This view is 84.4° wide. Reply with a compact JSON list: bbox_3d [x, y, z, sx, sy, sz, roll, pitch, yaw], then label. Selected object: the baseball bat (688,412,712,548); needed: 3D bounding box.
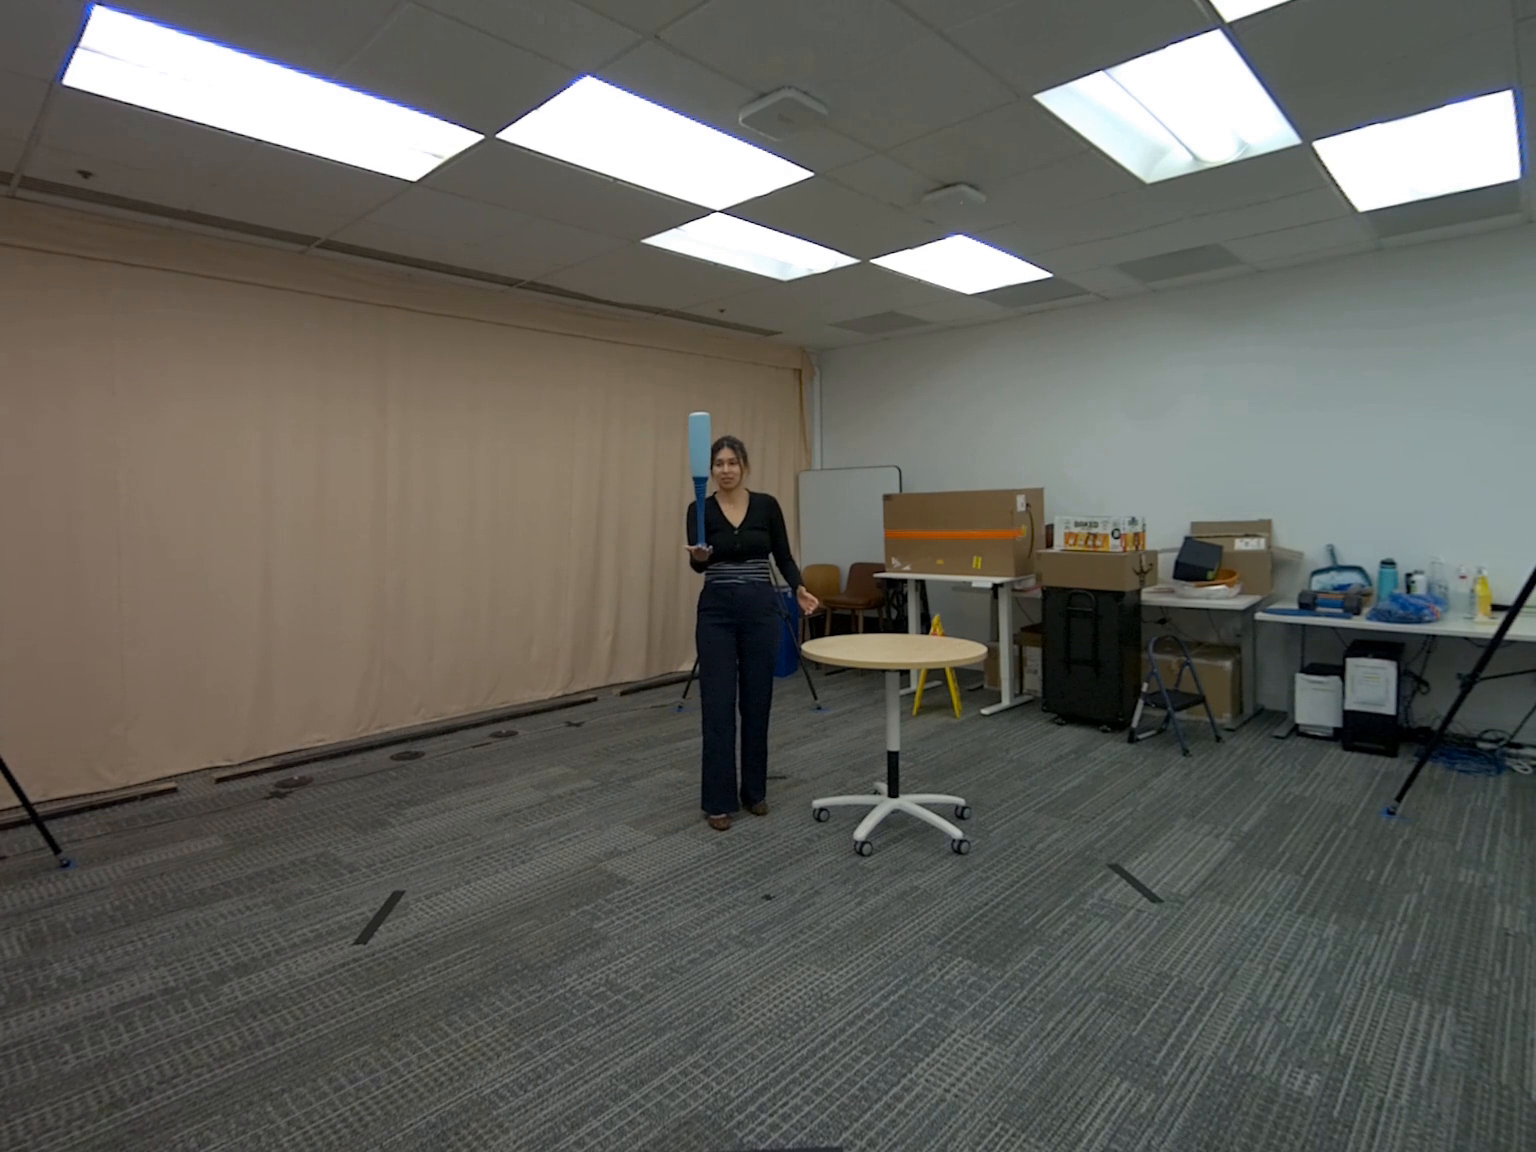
[{"bbox_3d":[-0.265,-0.377,3.349,0.089,0.541,0.089,-2,4,-2],"label":"baseball bat"}]
